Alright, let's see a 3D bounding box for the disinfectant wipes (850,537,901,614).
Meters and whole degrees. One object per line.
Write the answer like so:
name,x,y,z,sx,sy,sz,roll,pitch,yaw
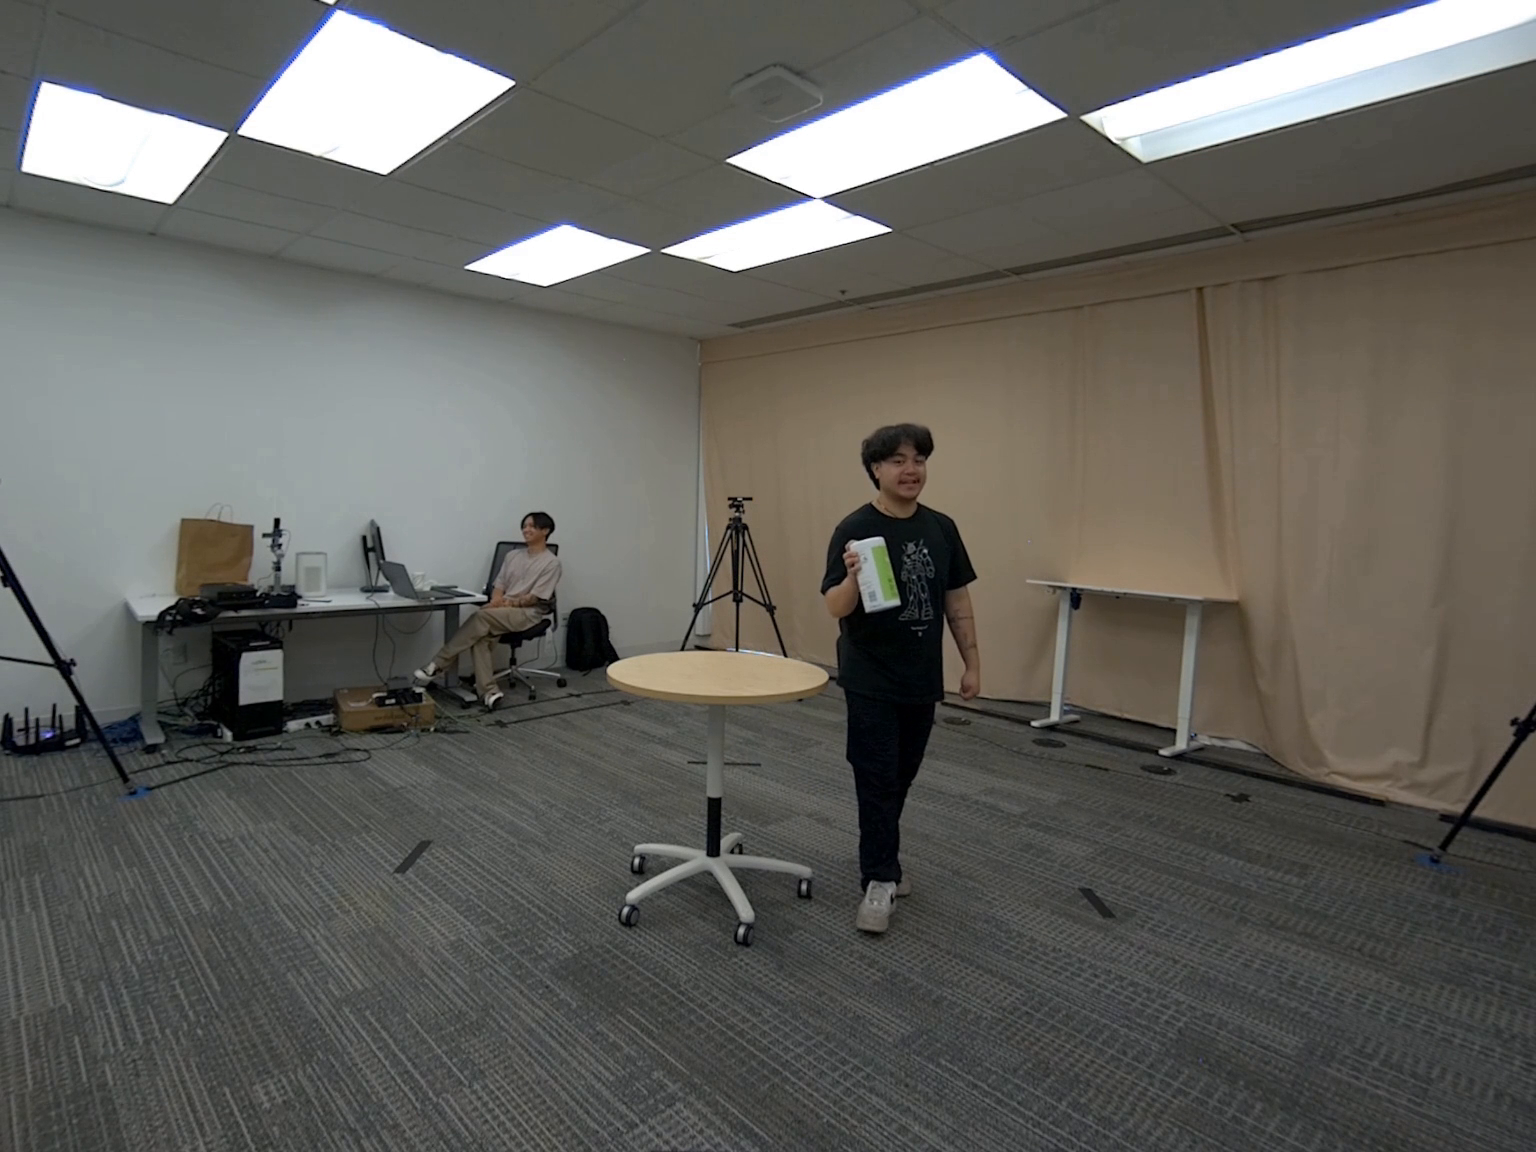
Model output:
disinfectant wipes,0.307,0.000,2.555,0.117,0.219,0.117,-10,-8,-3
